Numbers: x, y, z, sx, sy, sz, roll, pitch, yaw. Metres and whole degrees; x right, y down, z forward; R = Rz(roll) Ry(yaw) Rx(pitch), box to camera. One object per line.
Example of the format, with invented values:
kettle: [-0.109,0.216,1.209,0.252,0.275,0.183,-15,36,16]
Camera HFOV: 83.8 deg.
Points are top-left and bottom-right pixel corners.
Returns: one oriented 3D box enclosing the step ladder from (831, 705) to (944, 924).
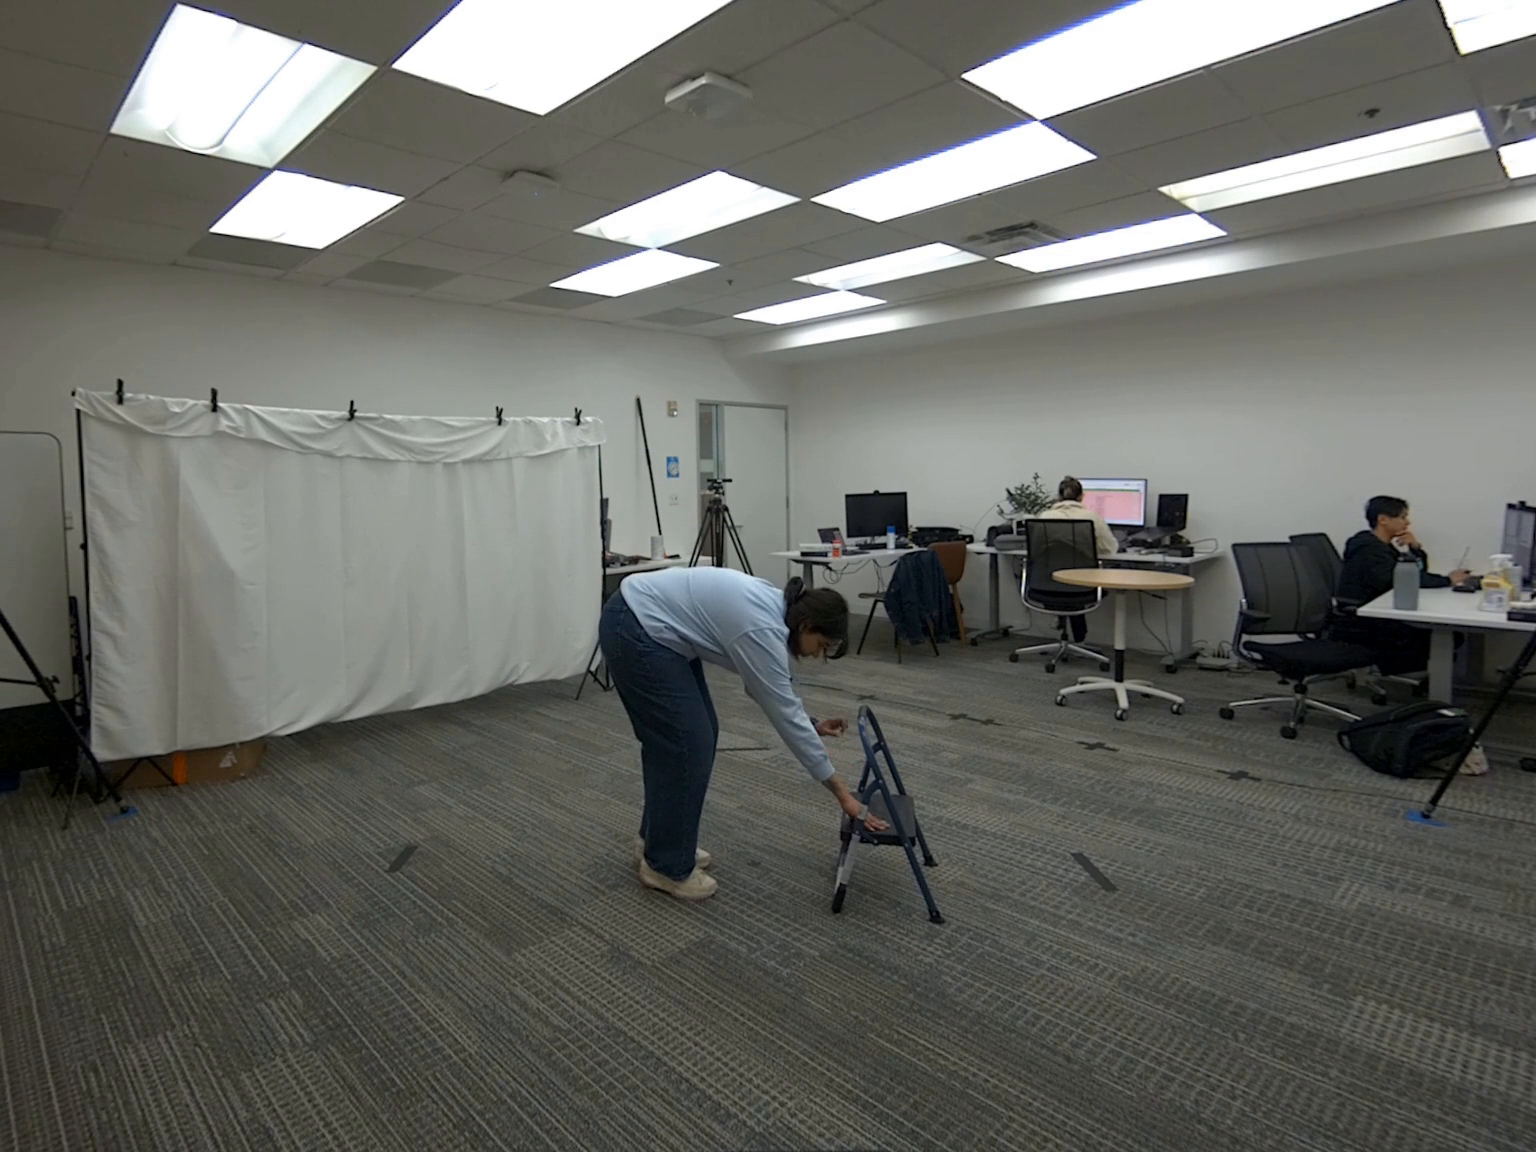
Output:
step ladder: [0.398,0.756,2.889,0.353,0.604,0.428,-1,4,9]
